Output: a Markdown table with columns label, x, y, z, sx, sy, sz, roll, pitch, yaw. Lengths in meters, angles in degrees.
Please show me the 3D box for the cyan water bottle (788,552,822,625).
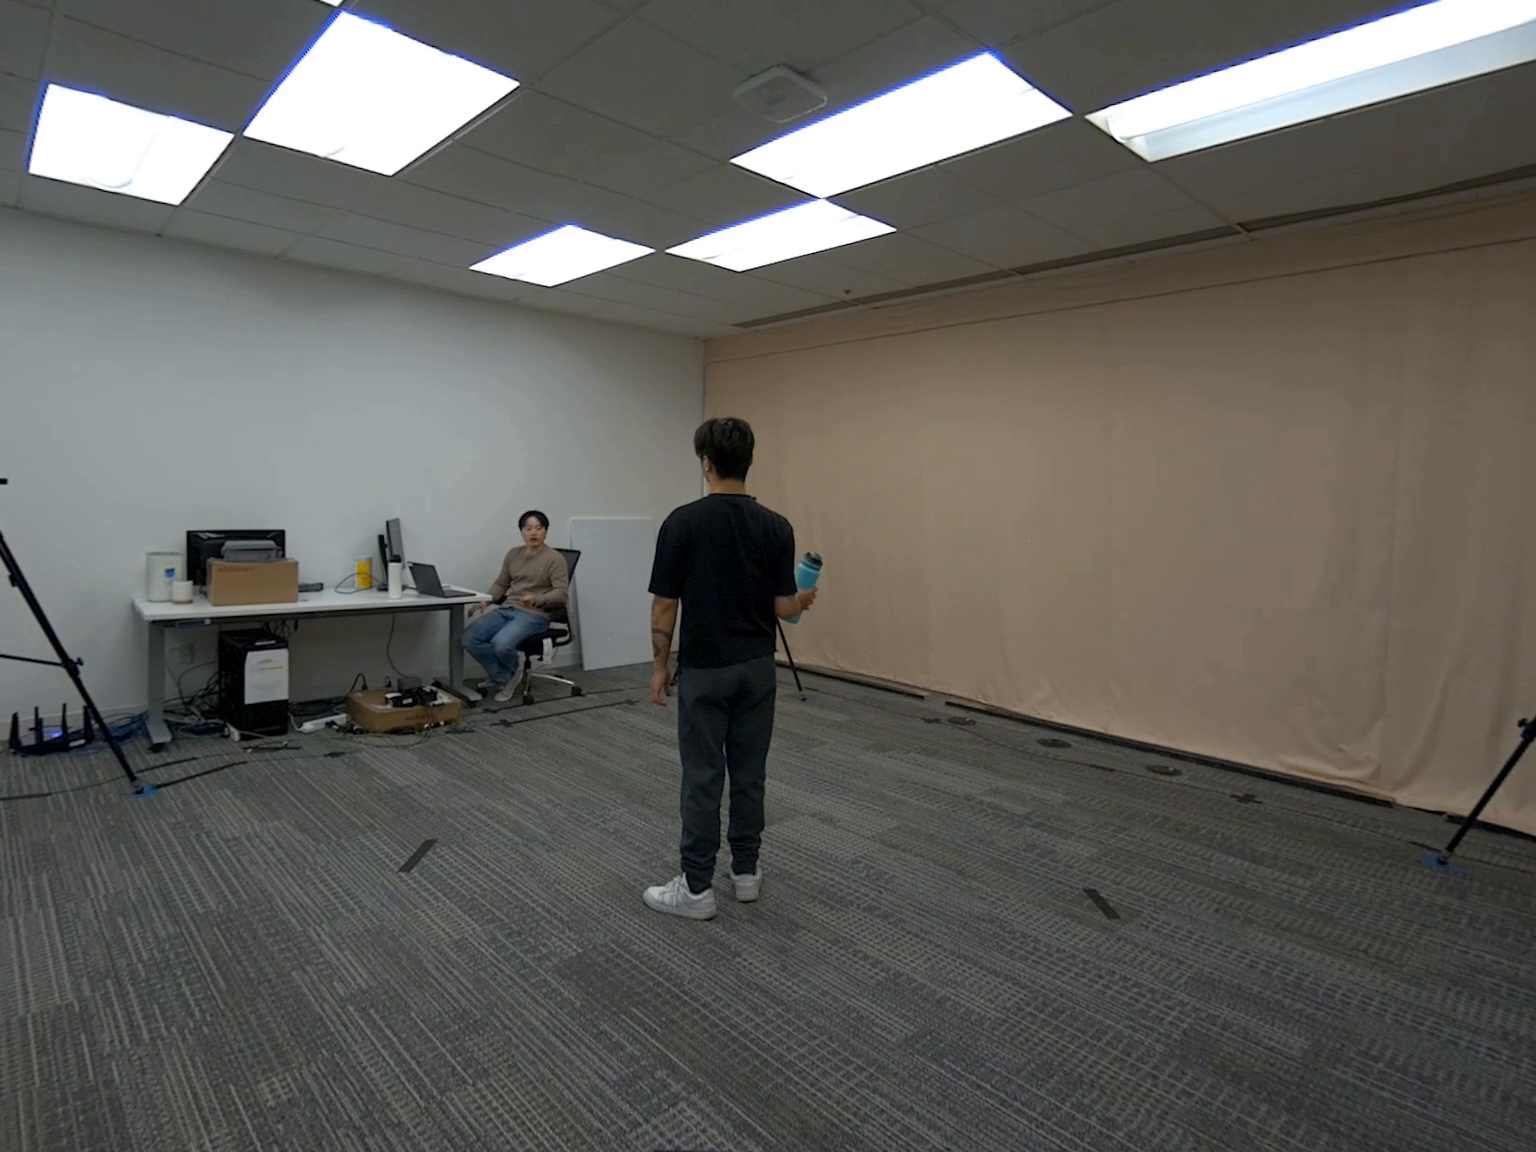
| label | x | y | z | sx | sy | sz | roll | pitch | yaw |
| --- | --- | --- | --- | --- | --- | --- | --- | --- | --- |
| cyan water bottle | 0.122 | 0.039 | 3.229 | 0.092 | 0.282 | 0.093 | 22 | 10 | -6 |
